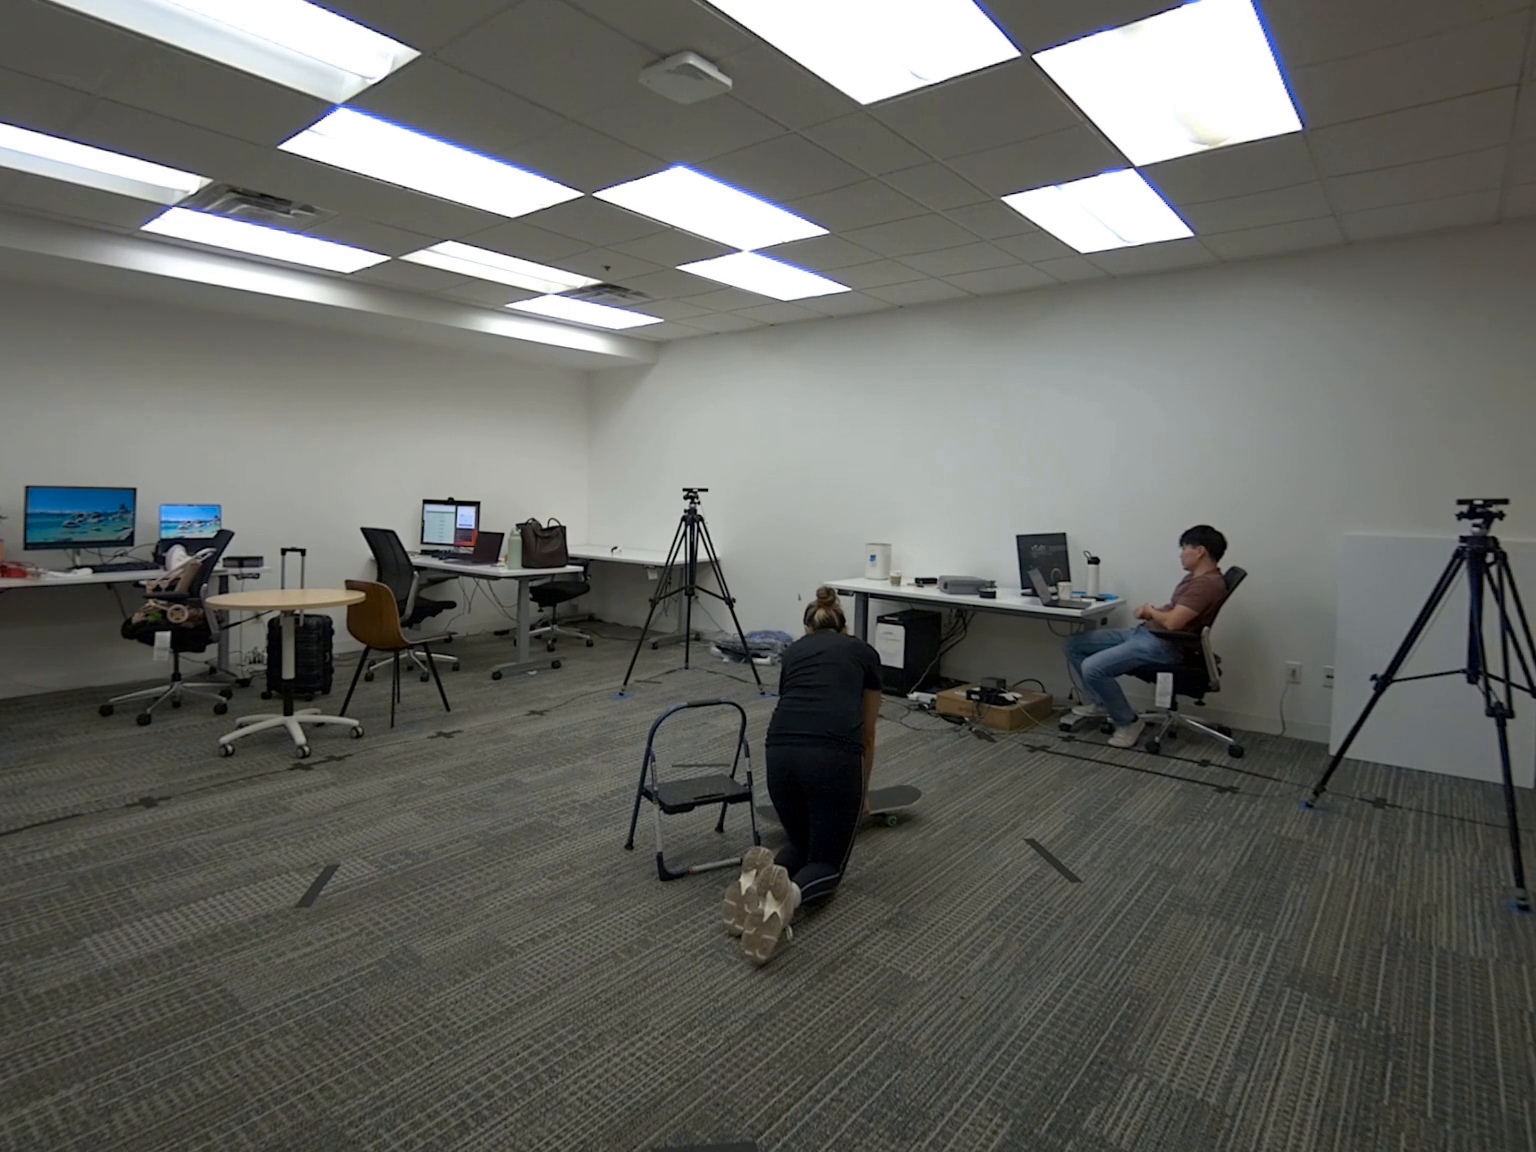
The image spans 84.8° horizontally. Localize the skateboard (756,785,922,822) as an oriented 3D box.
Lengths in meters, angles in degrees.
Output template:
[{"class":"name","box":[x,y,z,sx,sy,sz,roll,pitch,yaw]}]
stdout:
[{"class":"skateboard","box":[0.293,0.983,3.542,0.767,0.109,0.199,-2,9,-24]}]
